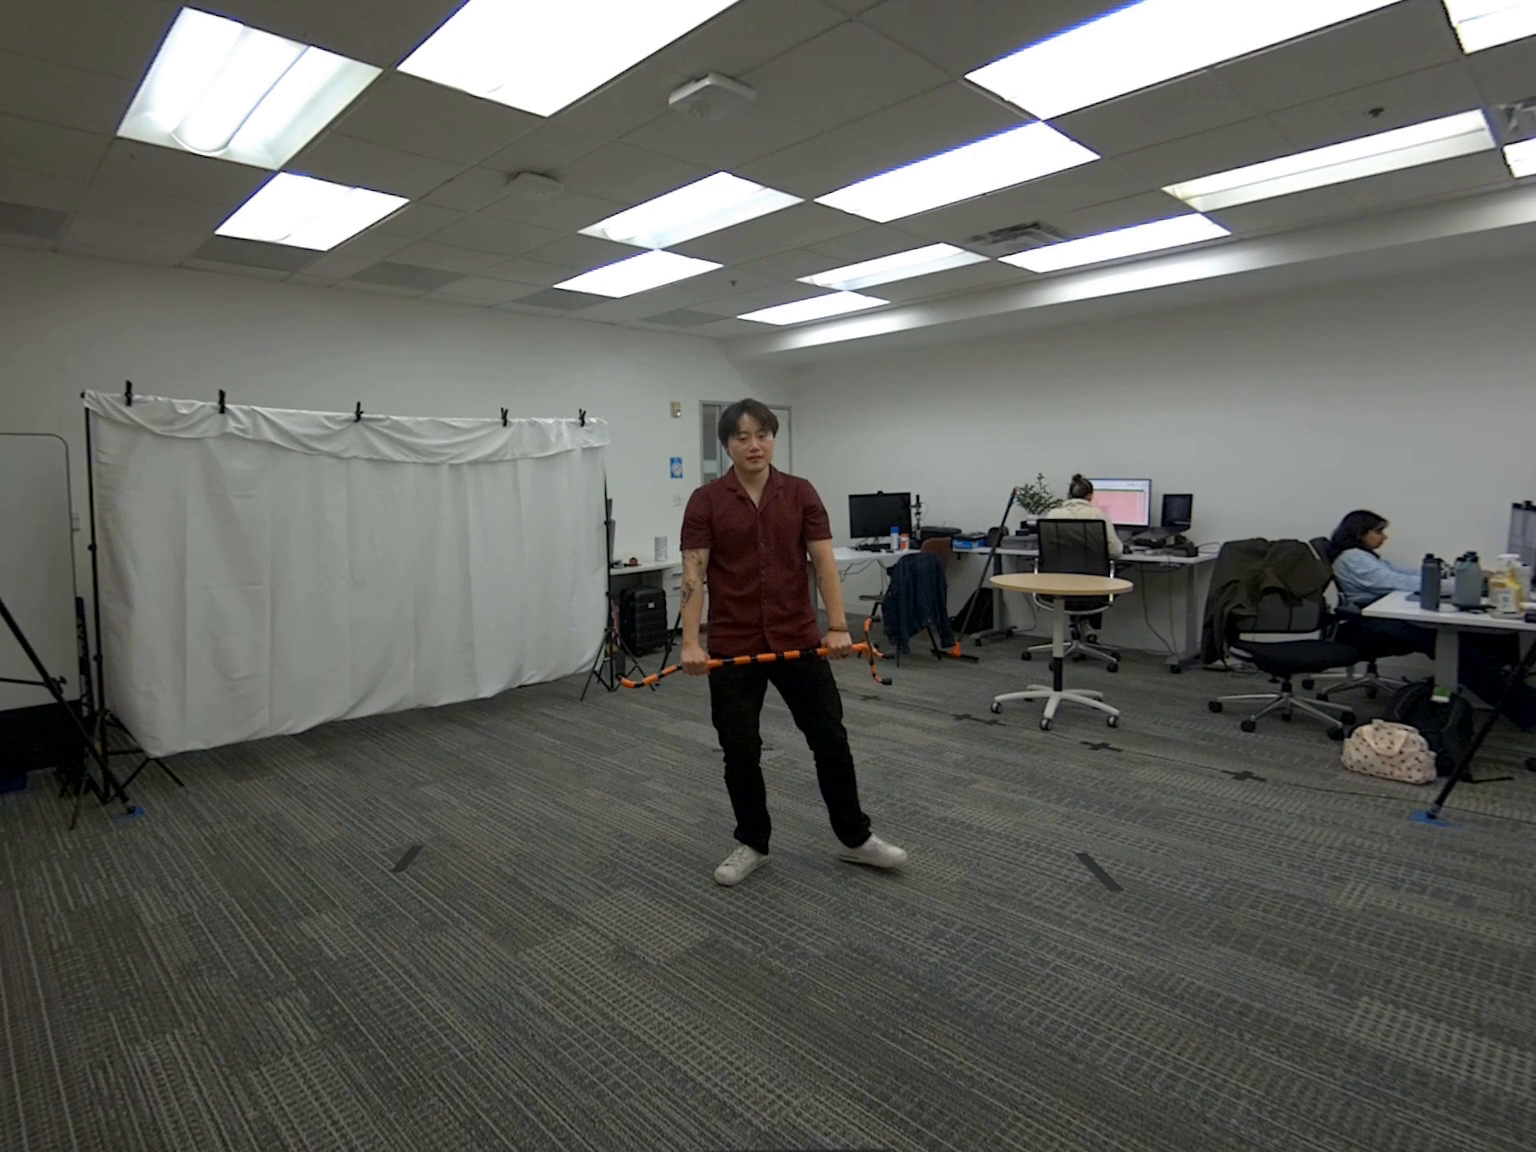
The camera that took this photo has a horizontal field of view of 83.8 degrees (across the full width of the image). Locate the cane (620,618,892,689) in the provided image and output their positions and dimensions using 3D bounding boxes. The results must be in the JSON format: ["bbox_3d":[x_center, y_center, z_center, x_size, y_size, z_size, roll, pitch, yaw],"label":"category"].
[{"bbox_3d":[-0.051,0.303,2.827,0.904,0.147,0.213,-6,45,-5],"label":"cane"}]
